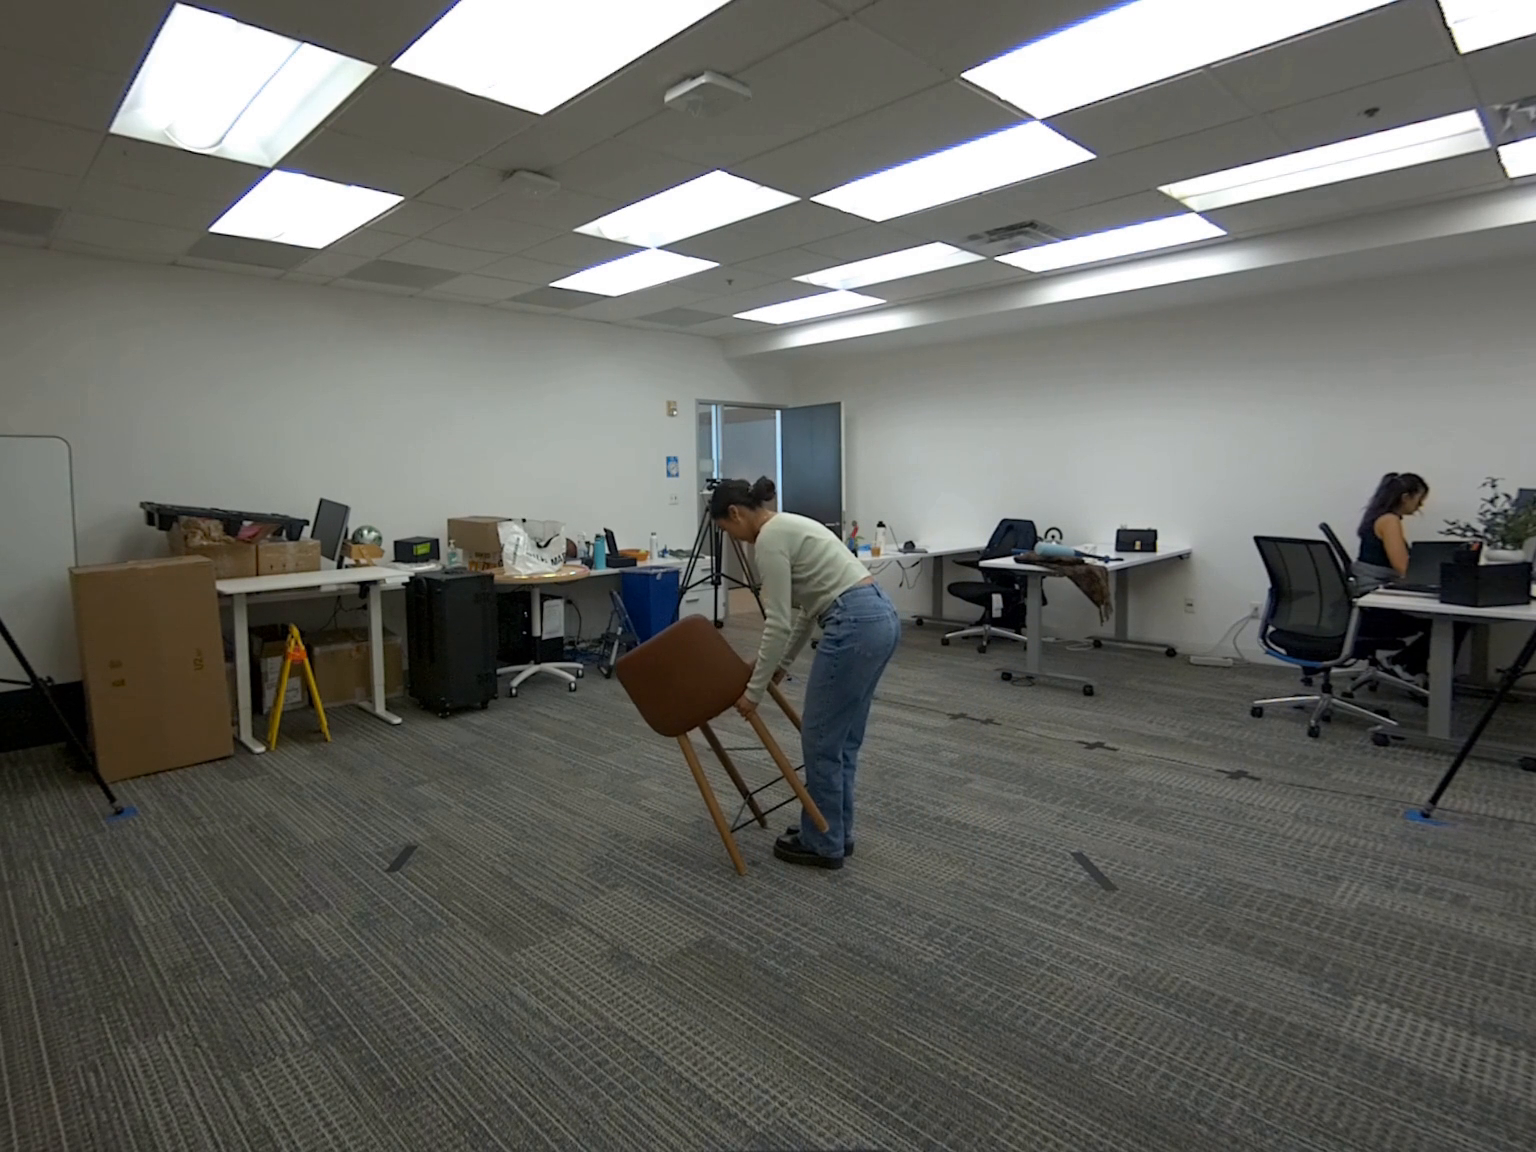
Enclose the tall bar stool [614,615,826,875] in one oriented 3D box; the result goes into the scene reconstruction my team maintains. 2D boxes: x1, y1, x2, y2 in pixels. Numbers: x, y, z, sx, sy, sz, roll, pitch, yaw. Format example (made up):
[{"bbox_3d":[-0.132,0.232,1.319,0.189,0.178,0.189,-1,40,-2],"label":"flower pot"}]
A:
[{"bbox_3d":[-0.135,0.569,3.201,0.459,0.892,0.464,-32,-1,16],"label":"tall bar stool"}]
